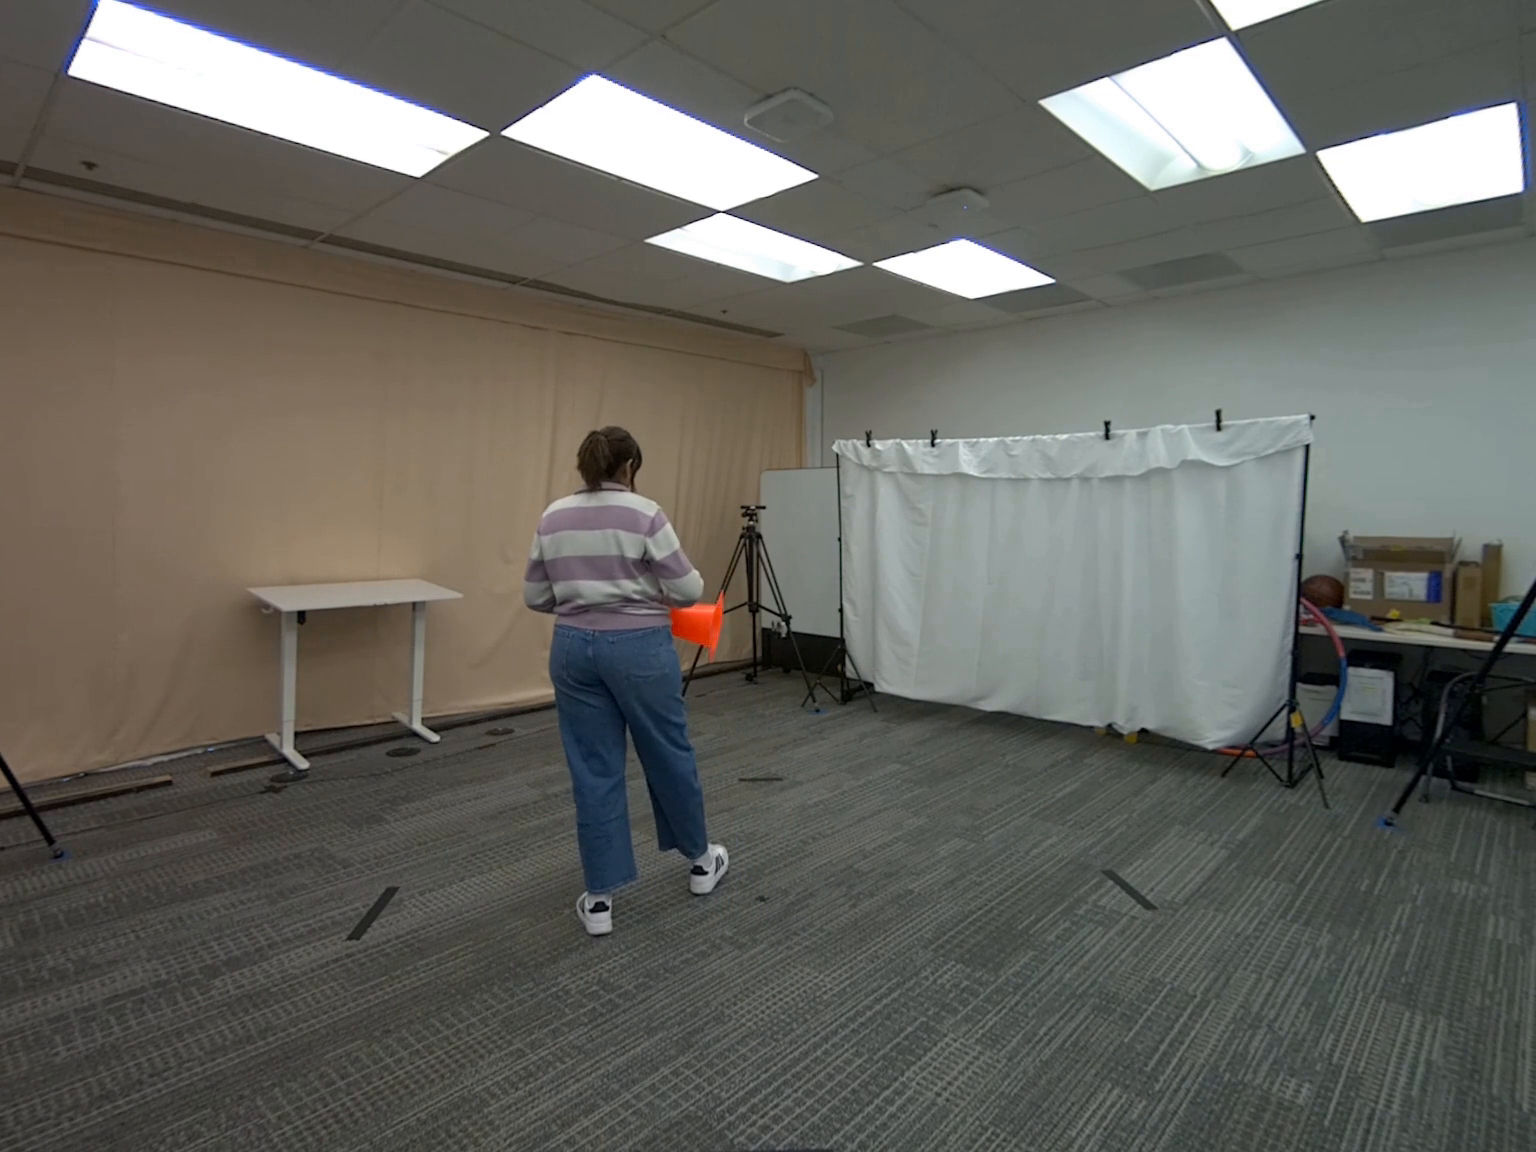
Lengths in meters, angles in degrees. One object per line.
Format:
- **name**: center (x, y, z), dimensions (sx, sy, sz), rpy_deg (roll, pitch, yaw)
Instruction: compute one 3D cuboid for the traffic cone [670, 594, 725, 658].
- **traffic cone**: center (-0.368, 0.159, 3.076), dimensions (0.387, 0.199, 0.207), rpy_deg (7, 43, 6)
